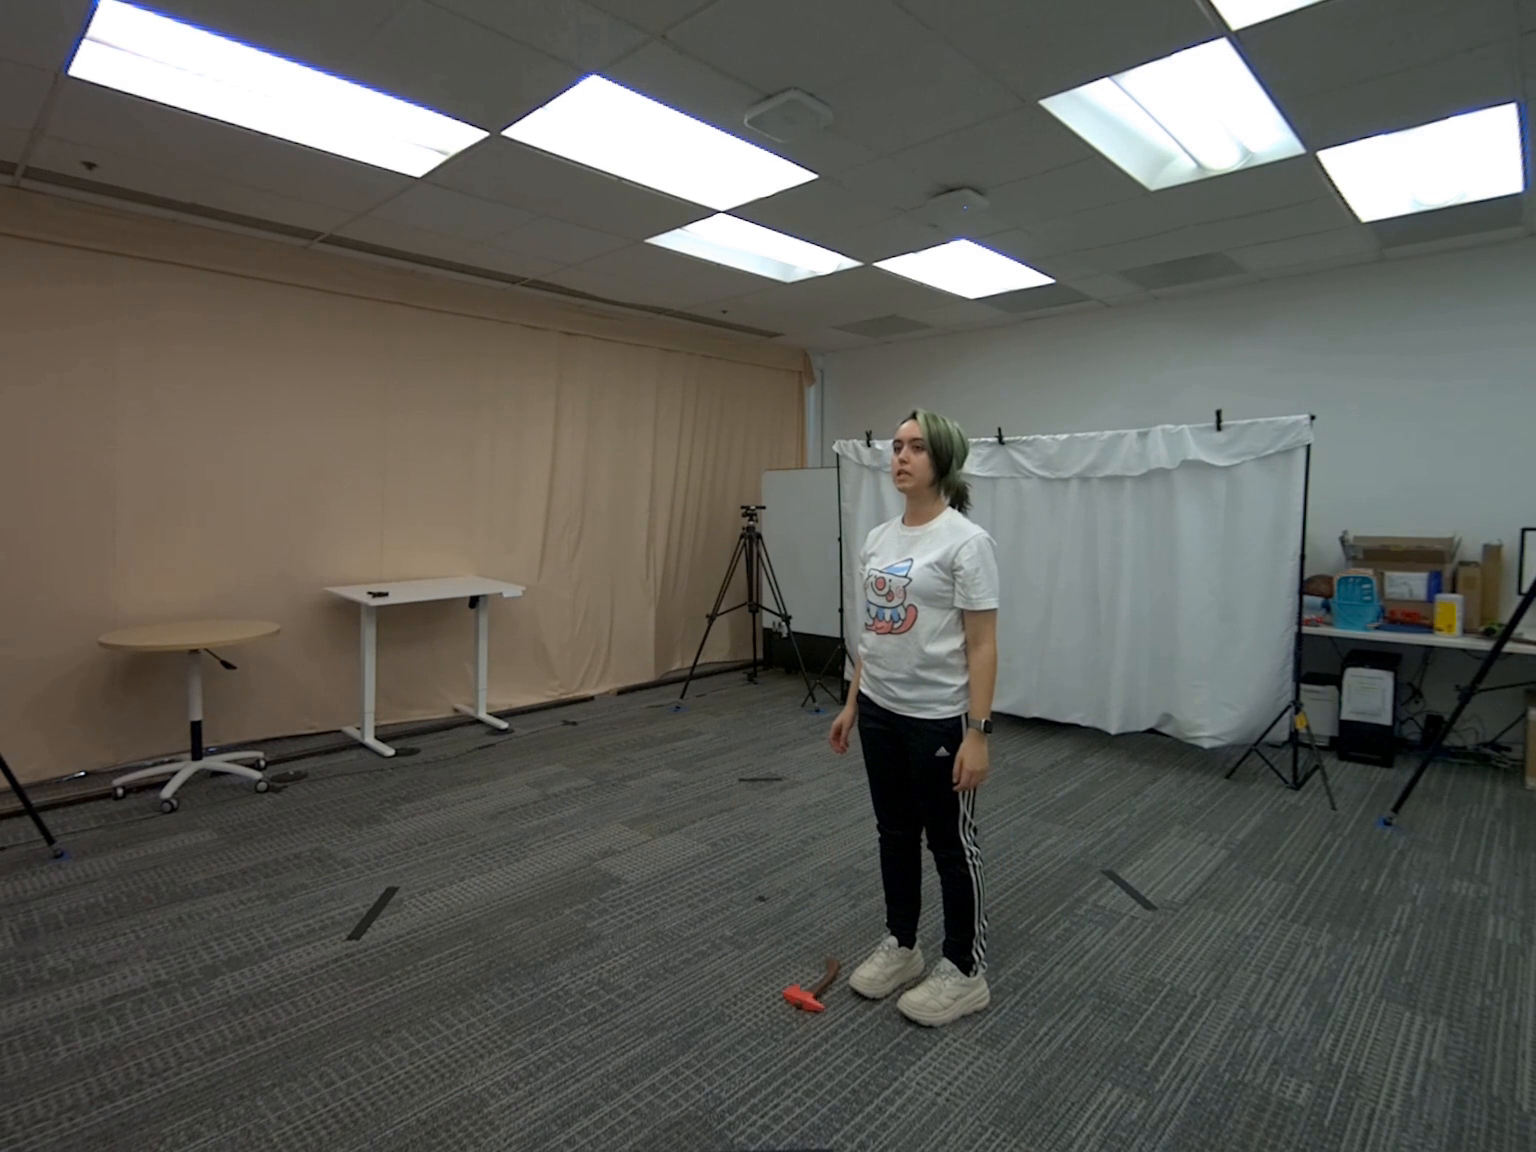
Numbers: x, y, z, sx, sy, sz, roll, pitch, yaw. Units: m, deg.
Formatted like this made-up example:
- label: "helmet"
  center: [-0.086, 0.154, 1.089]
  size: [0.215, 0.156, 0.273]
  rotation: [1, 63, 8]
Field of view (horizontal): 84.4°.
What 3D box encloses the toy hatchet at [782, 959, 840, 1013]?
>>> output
- label: "toy hatchet"
  center: [0.131, 1.175, 2.446]
  size: [0.133, 0.029, 0.266]
  rotation: [-1, 2, 14]
